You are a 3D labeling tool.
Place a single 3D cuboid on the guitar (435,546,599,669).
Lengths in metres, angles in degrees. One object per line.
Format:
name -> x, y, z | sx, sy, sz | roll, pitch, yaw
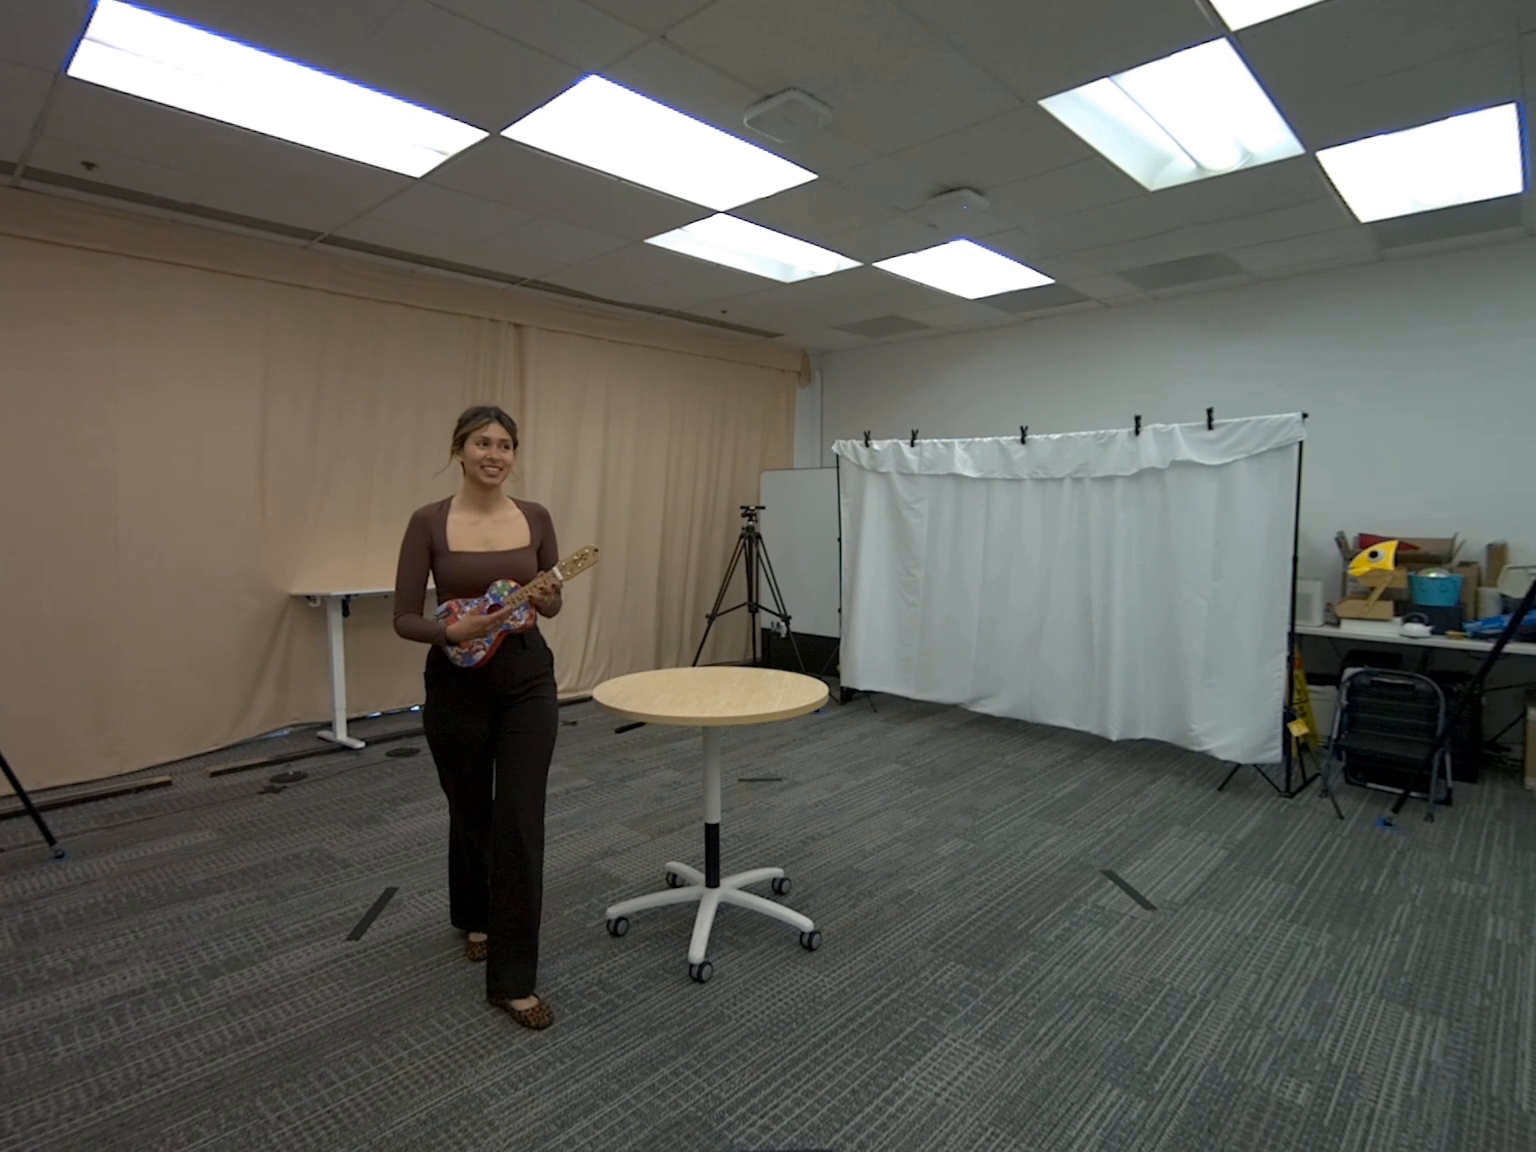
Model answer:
guitar -> -0.669, 0.087, 2.324 | 0.497, 0.195, 0.070 | -25, -9, -1
